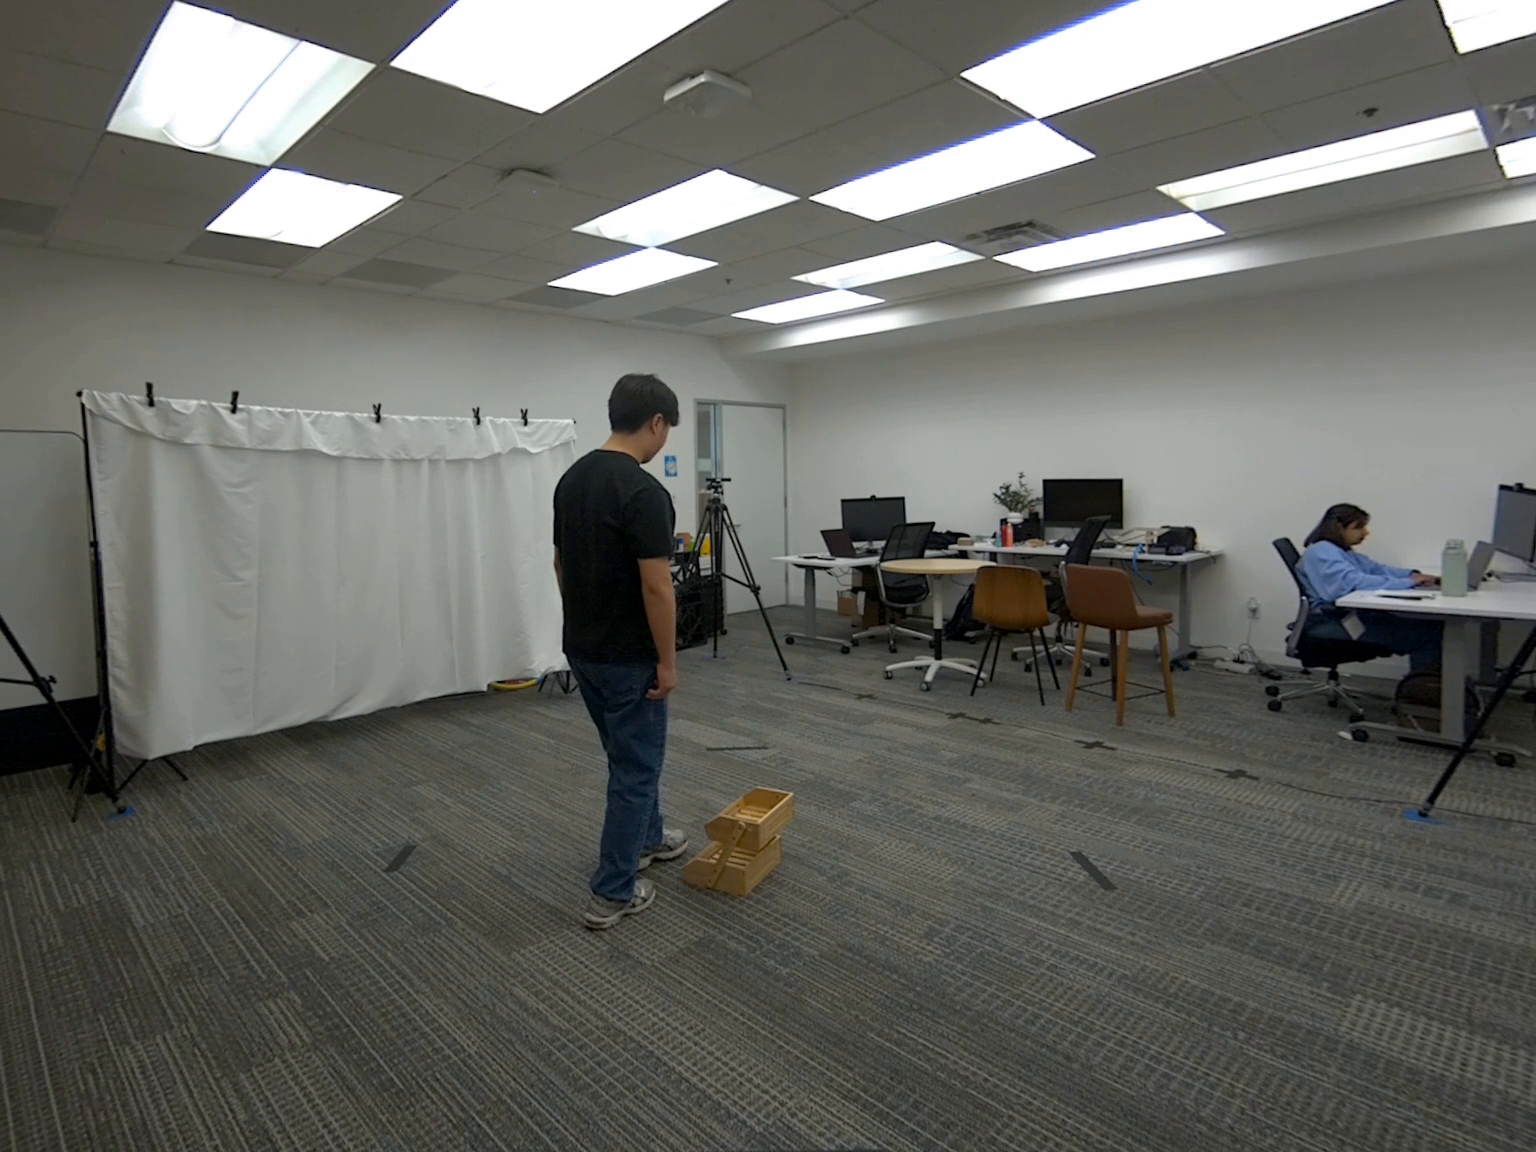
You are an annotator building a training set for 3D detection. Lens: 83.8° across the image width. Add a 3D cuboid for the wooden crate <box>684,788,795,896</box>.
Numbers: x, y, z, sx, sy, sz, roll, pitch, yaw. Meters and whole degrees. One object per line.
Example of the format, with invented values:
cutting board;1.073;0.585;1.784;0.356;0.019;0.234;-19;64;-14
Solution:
wooden crate;-0.110;0.918;3.027;0.309;0.272;0.318;2;6;26
